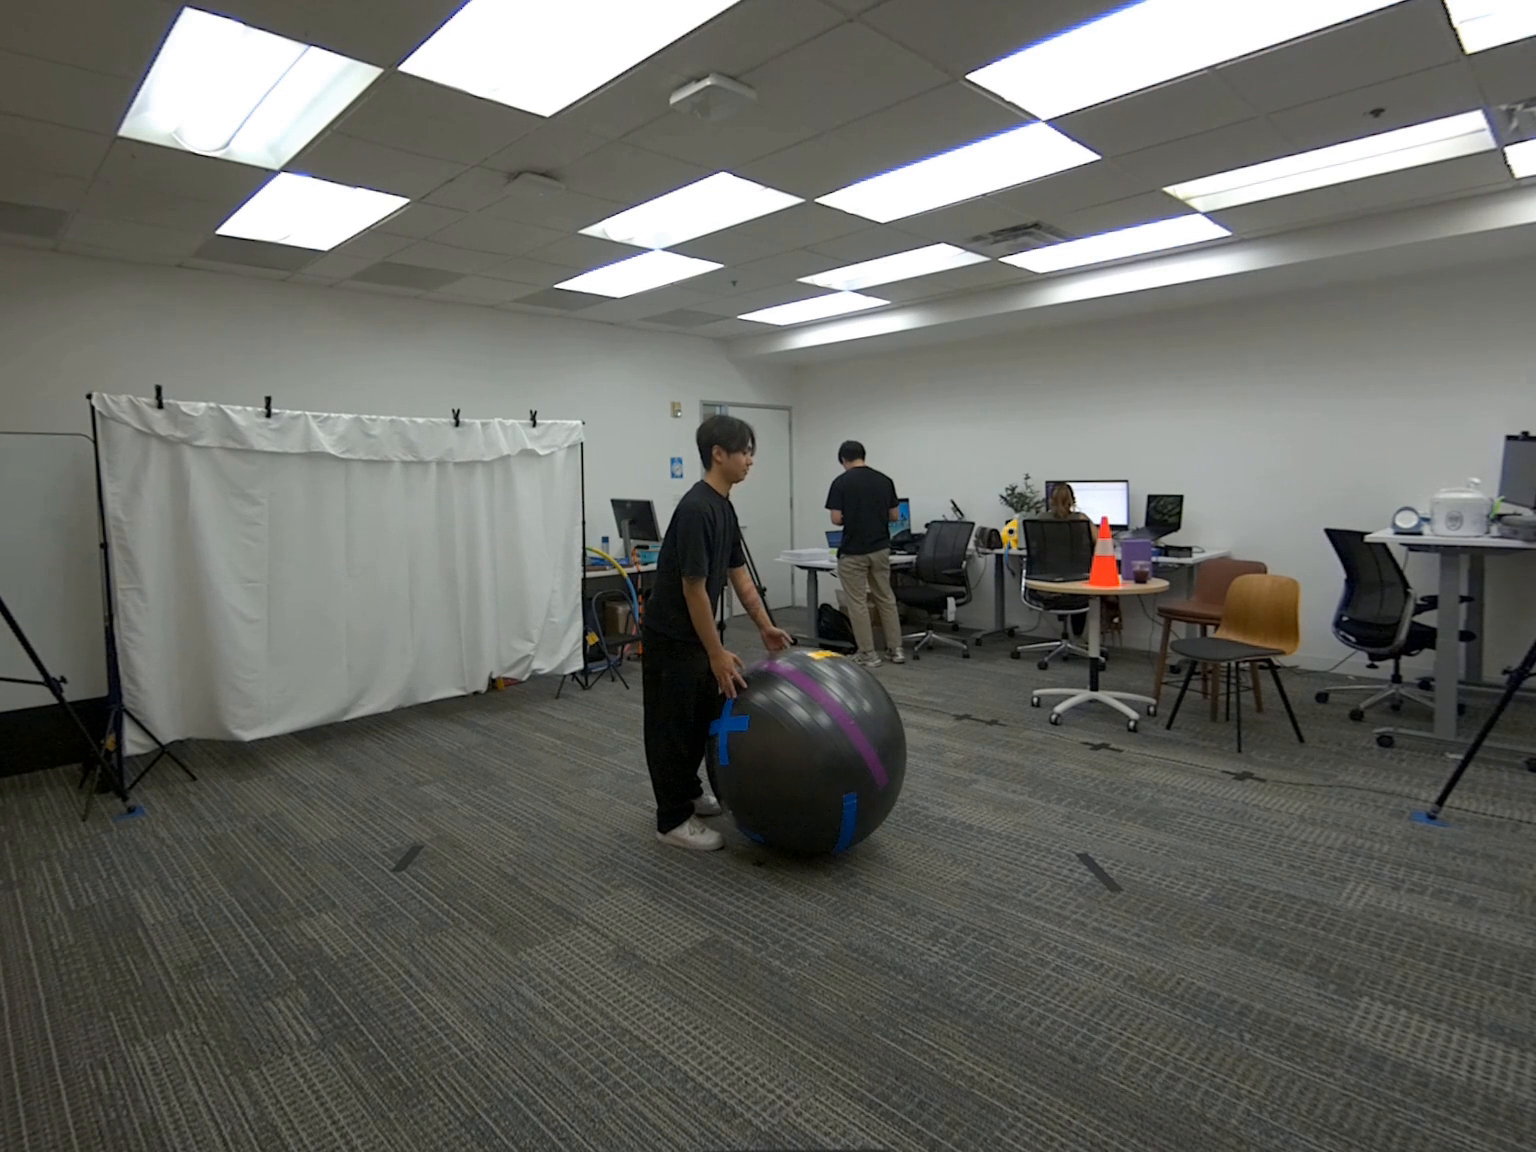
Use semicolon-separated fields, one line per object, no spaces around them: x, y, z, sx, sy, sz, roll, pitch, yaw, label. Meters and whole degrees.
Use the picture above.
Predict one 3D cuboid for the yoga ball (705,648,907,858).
0.139;0.663;3.227;0.757;0.755;0.762;-1;5;-2;yoga ball
